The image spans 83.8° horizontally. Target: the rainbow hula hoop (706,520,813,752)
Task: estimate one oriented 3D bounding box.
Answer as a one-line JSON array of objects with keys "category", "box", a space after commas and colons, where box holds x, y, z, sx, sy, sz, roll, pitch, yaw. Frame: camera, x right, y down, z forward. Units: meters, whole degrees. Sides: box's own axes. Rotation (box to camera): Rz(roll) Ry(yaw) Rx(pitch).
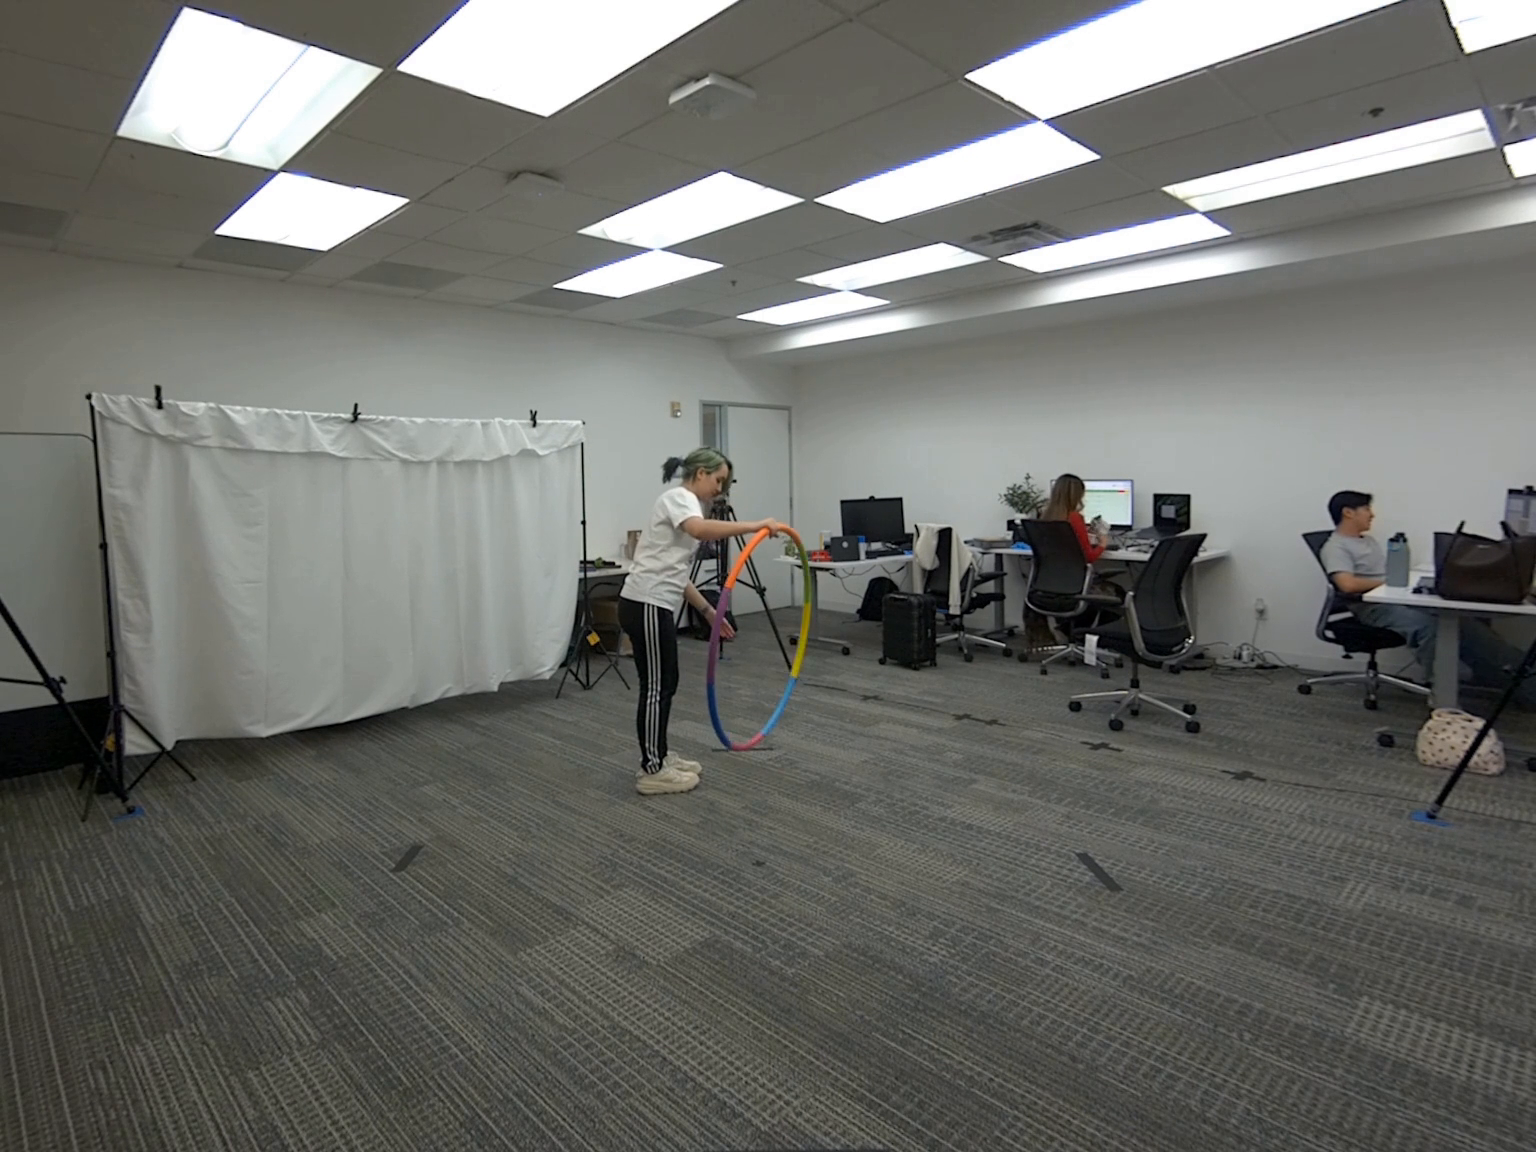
[{"category": "rainbow hula hoop", "box": [-0.023, 0.262, 3.692, 0.036, 0.972, 0.959, 10, 9, 25]}]
